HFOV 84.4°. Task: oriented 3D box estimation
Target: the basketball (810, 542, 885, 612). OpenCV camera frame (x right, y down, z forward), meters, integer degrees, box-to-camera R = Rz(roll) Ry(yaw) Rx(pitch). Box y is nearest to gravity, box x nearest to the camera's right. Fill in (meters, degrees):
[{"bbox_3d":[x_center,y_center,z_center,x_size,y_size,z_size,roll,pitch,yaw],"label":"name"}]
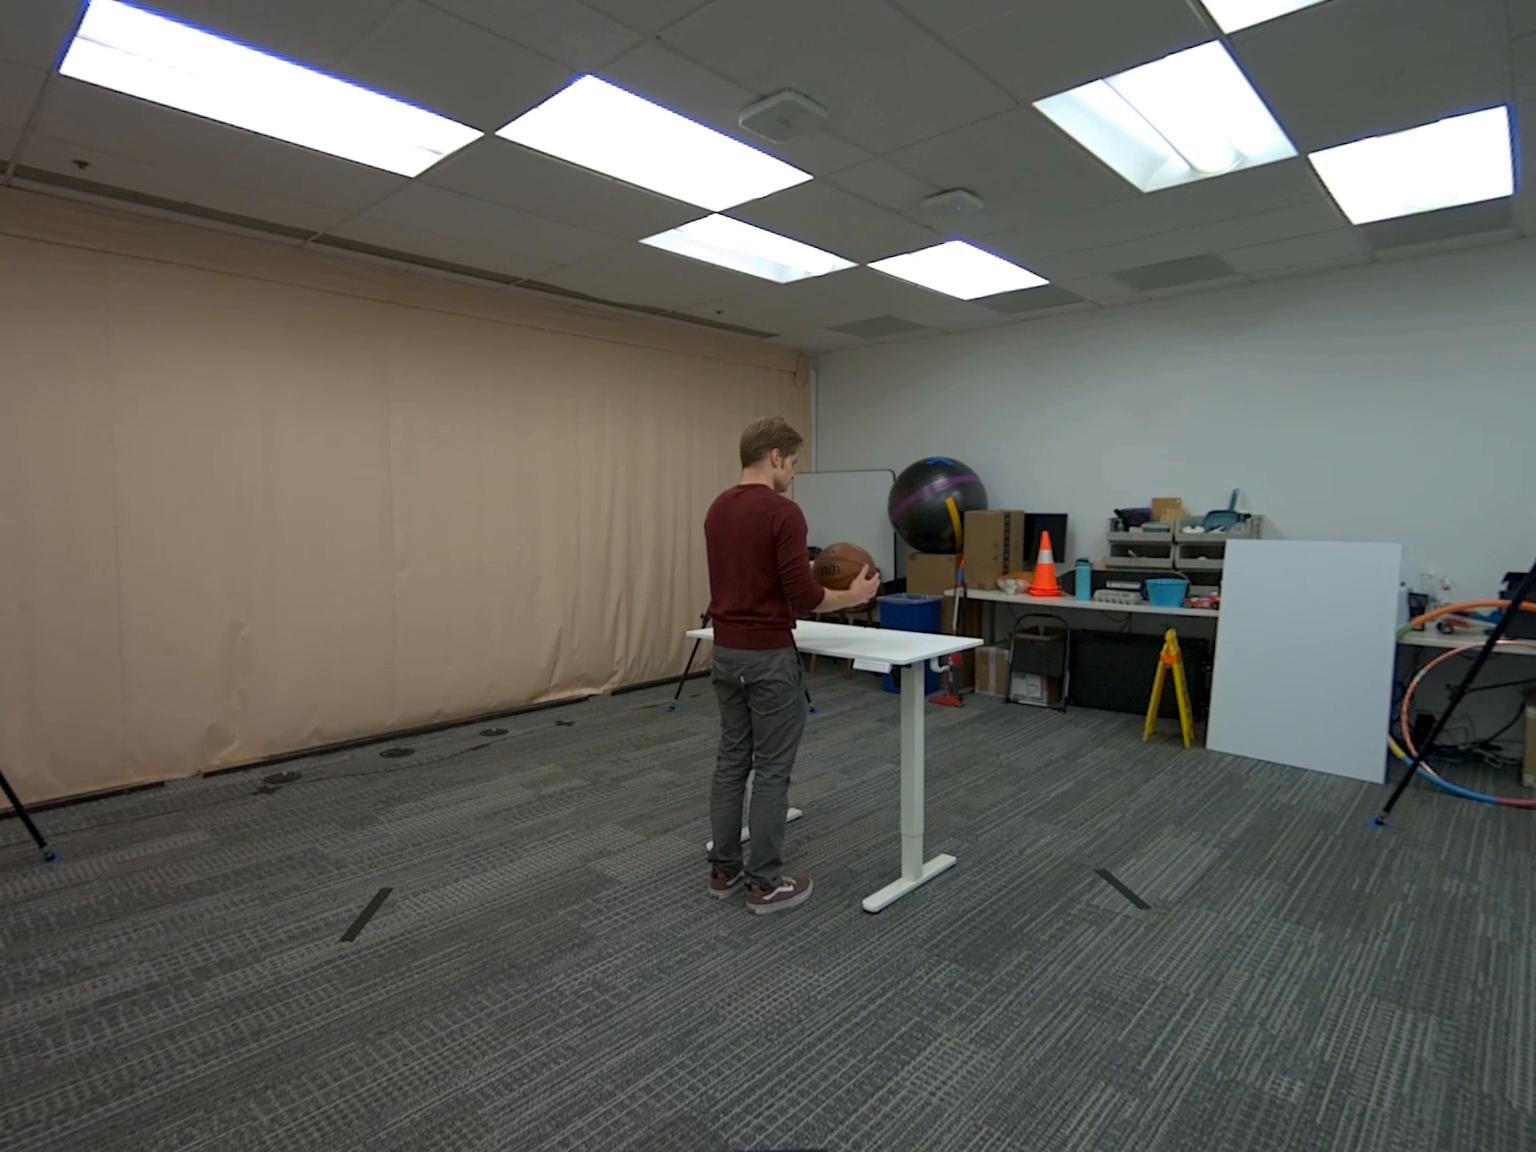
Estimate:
[{"bbox_3d":[0.284,-0.003,3.121,0.236,0.235,0.237,0,4,-2],"label":"basketball"}]
